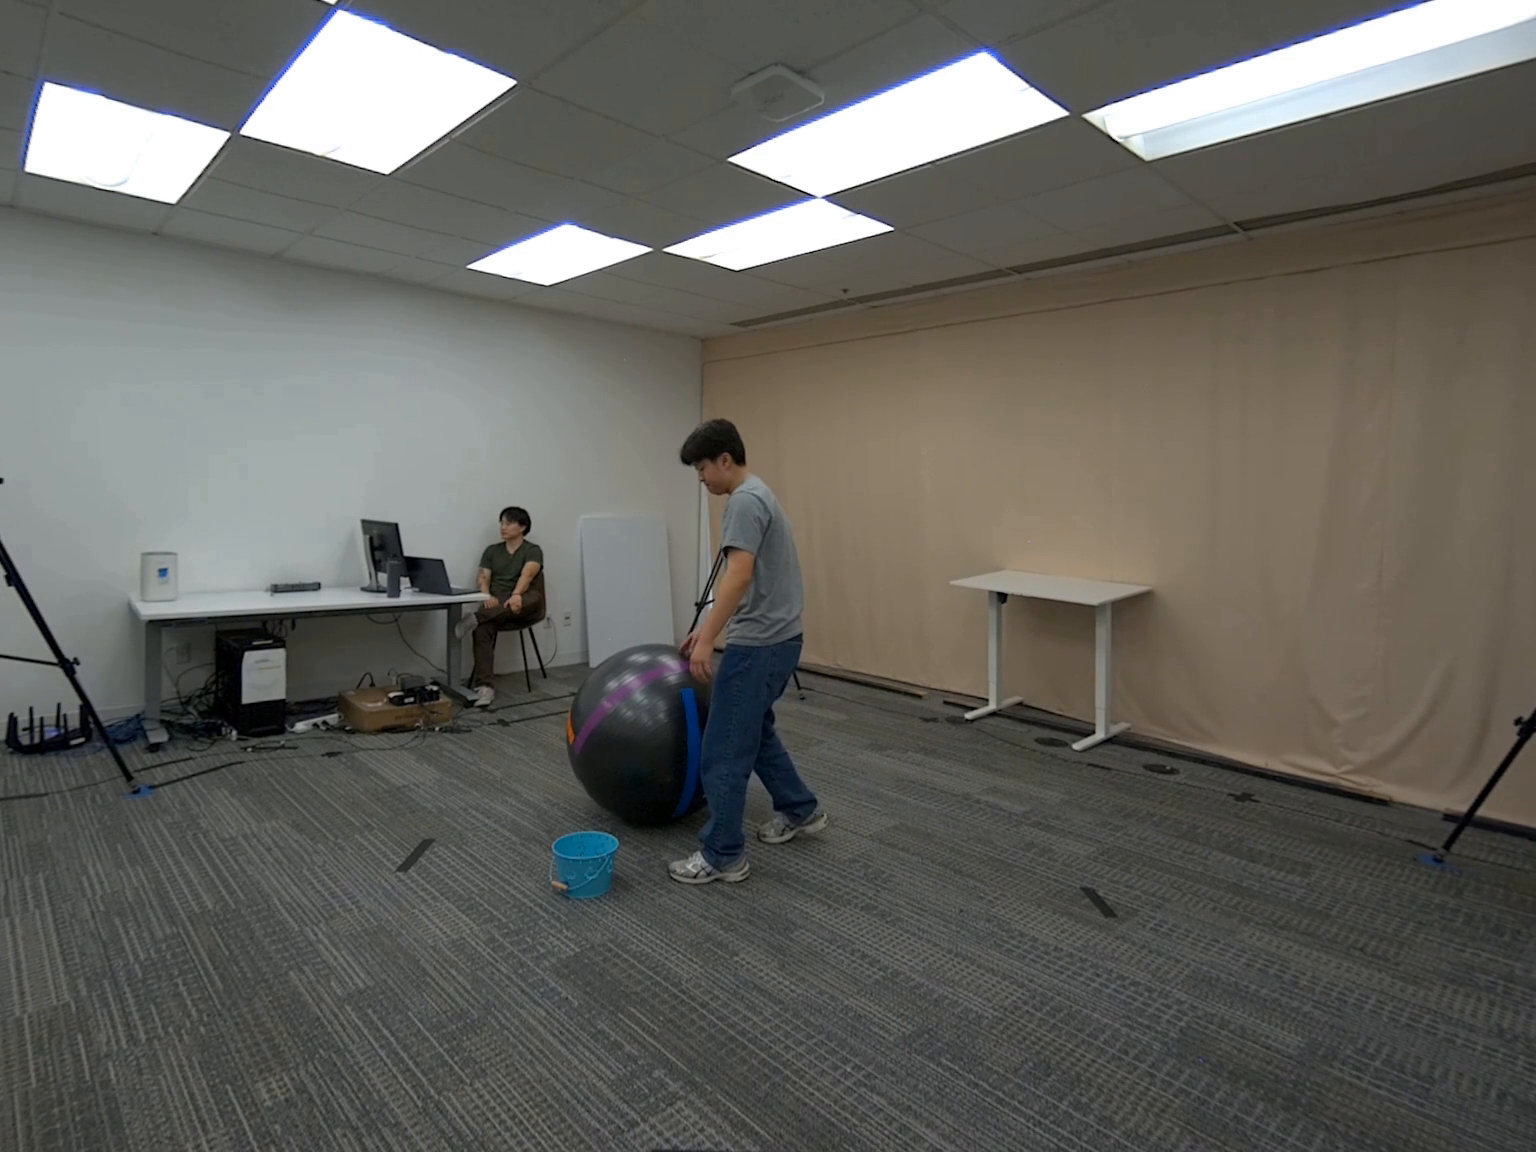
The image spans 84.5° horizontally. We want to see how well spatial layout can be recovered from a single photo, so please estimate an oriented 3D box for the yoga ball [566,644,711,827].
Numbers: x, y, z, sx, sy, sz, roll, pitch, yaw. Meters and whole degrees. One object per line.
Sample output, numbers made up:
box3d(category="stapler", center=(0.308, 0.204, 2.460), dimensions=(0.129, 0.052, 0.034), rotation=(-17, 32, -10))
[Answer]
box3d(category="yoga ball", center=(-0.499, 0.679, 3.660), dimensions=(0.757, 0.756, 0.761), rotation=(1, 4, -1))
